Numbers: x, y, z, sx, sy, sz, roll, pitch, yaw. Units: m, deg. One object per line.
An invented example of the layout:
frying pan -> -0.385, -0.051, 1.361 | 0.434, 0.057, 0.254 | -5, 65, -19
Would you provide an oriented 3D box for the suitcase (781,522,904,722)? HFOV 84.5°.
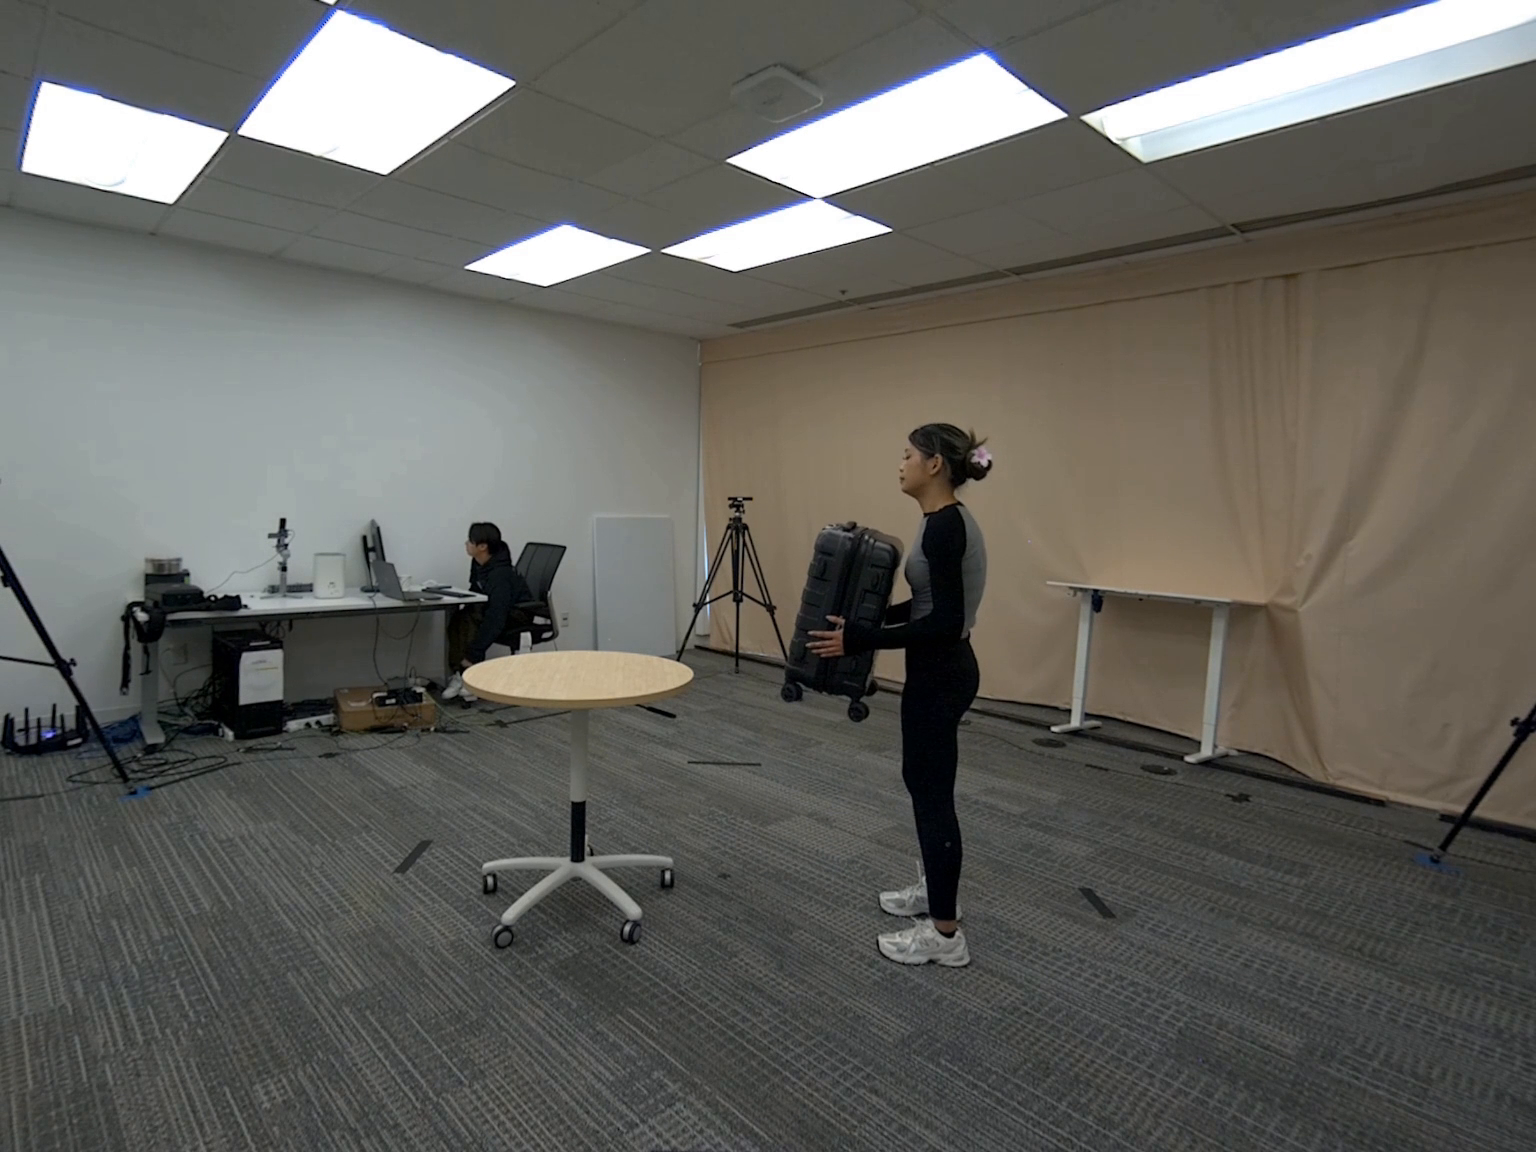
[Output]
suitcase -> 0.239, 0.111, 2.633 | 0.252, 0.547, 0.372 | 13, 8, 13
